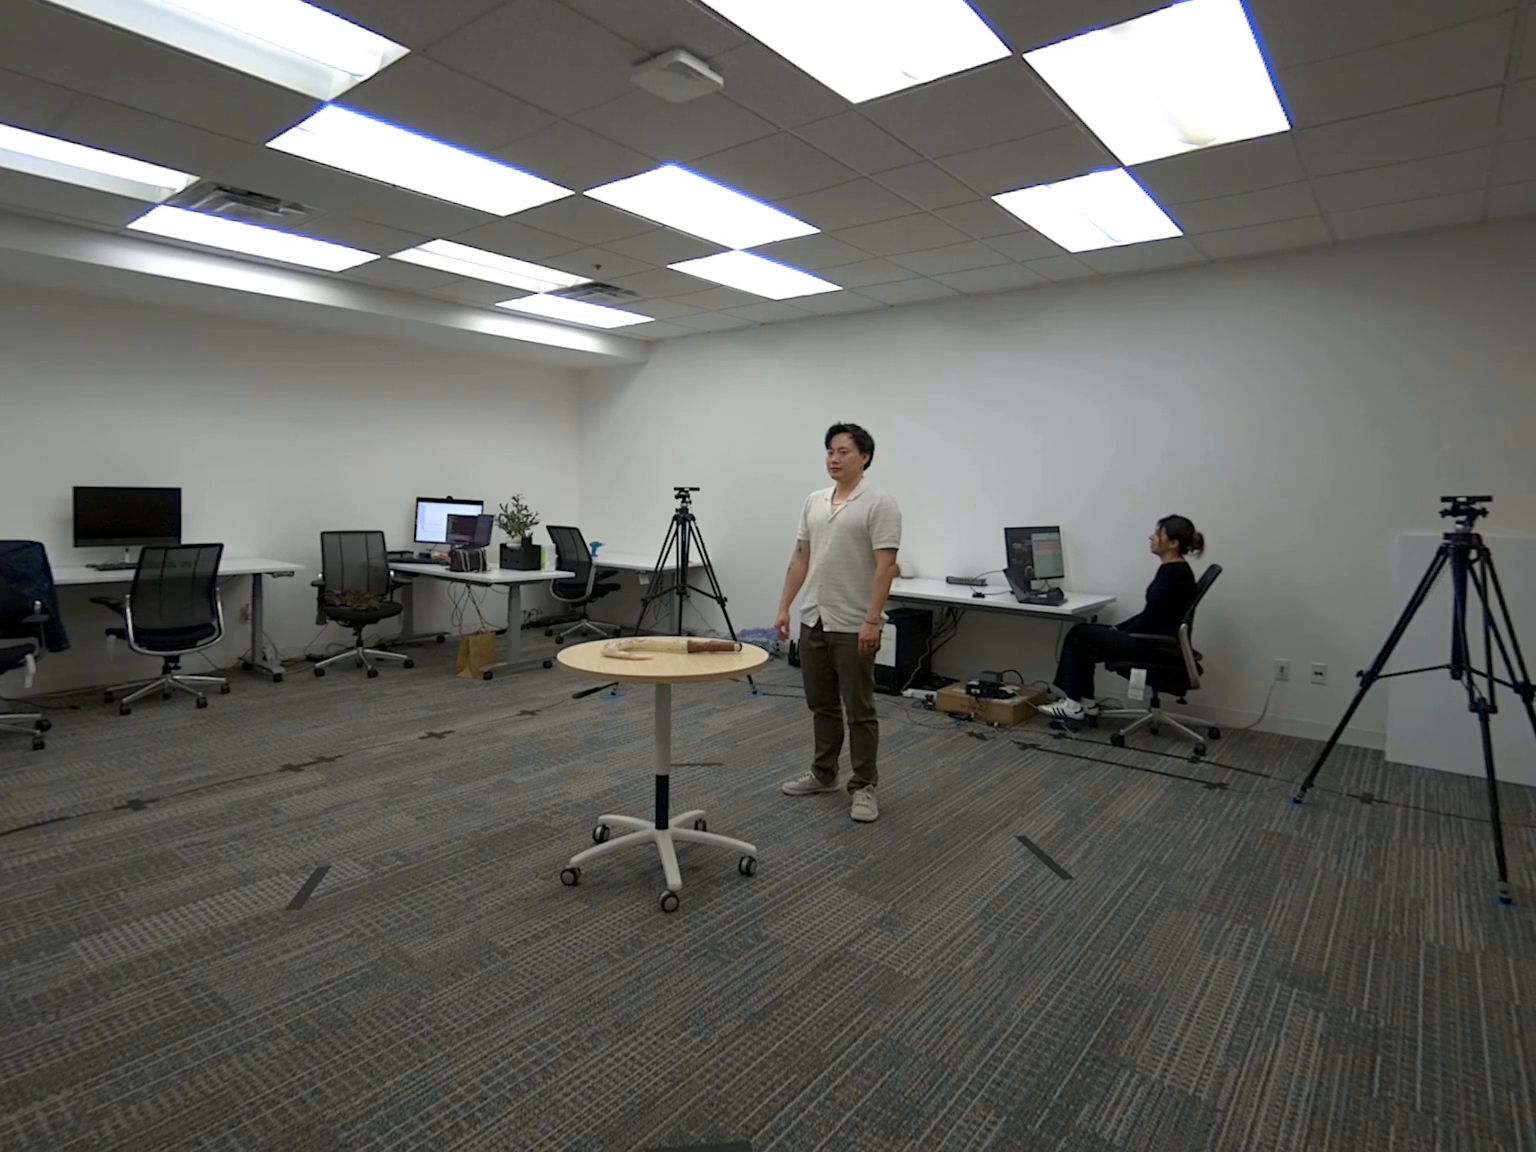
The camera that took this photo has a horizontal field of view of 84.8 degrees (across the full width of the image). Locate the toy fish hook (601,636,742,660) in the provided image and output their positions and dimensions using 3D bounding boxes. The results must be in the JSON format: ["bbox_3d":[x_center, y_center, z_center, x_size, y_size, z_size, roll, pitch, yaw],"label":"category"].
[{"bbox_3d":[-0.356,0.269,3.072,0.508,0.048,0.227,-1,13,2],"label":"toy fish hook"}]
